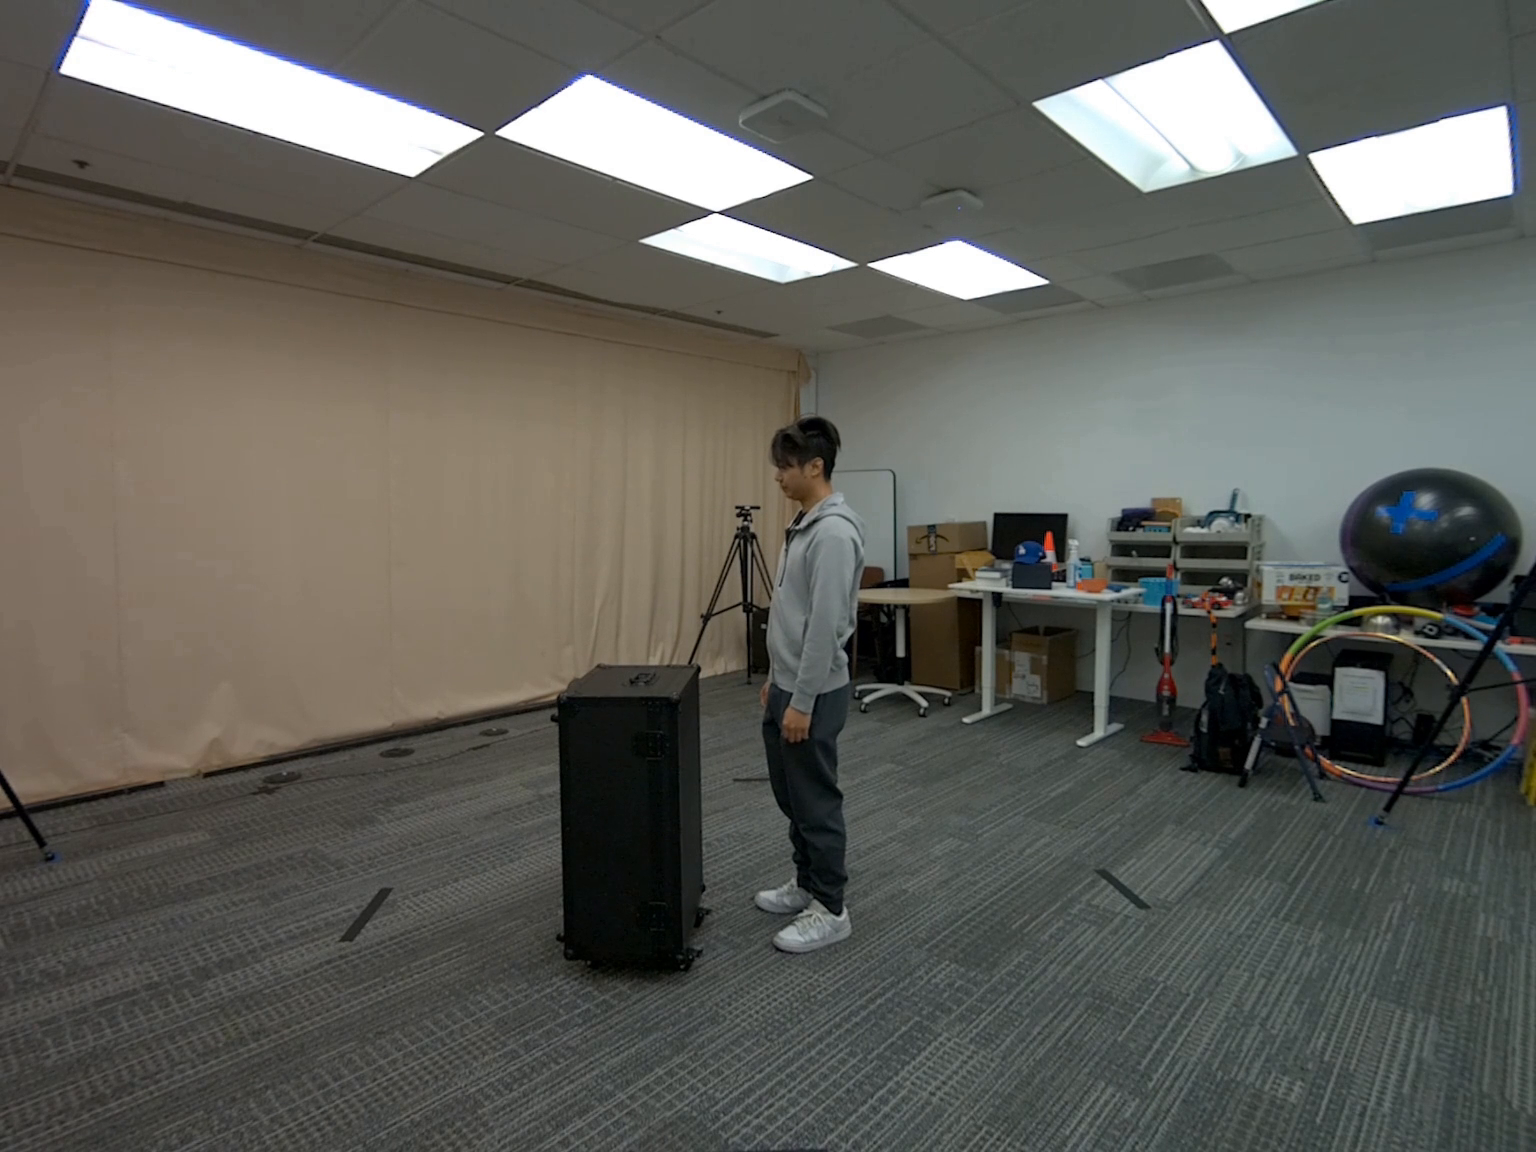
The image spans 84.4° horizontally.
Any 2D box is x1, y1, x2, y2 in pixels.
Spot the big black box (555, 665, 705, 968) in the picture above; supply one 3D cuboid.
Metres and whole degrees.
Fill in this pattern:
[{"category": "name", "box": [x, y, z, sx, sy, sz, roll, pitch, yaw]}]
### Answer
[{"category": "big black box", "box": [-0.425, 0.751, 2.659, 0.399, 0.860, 0.519, -1, 3, 4]}]
